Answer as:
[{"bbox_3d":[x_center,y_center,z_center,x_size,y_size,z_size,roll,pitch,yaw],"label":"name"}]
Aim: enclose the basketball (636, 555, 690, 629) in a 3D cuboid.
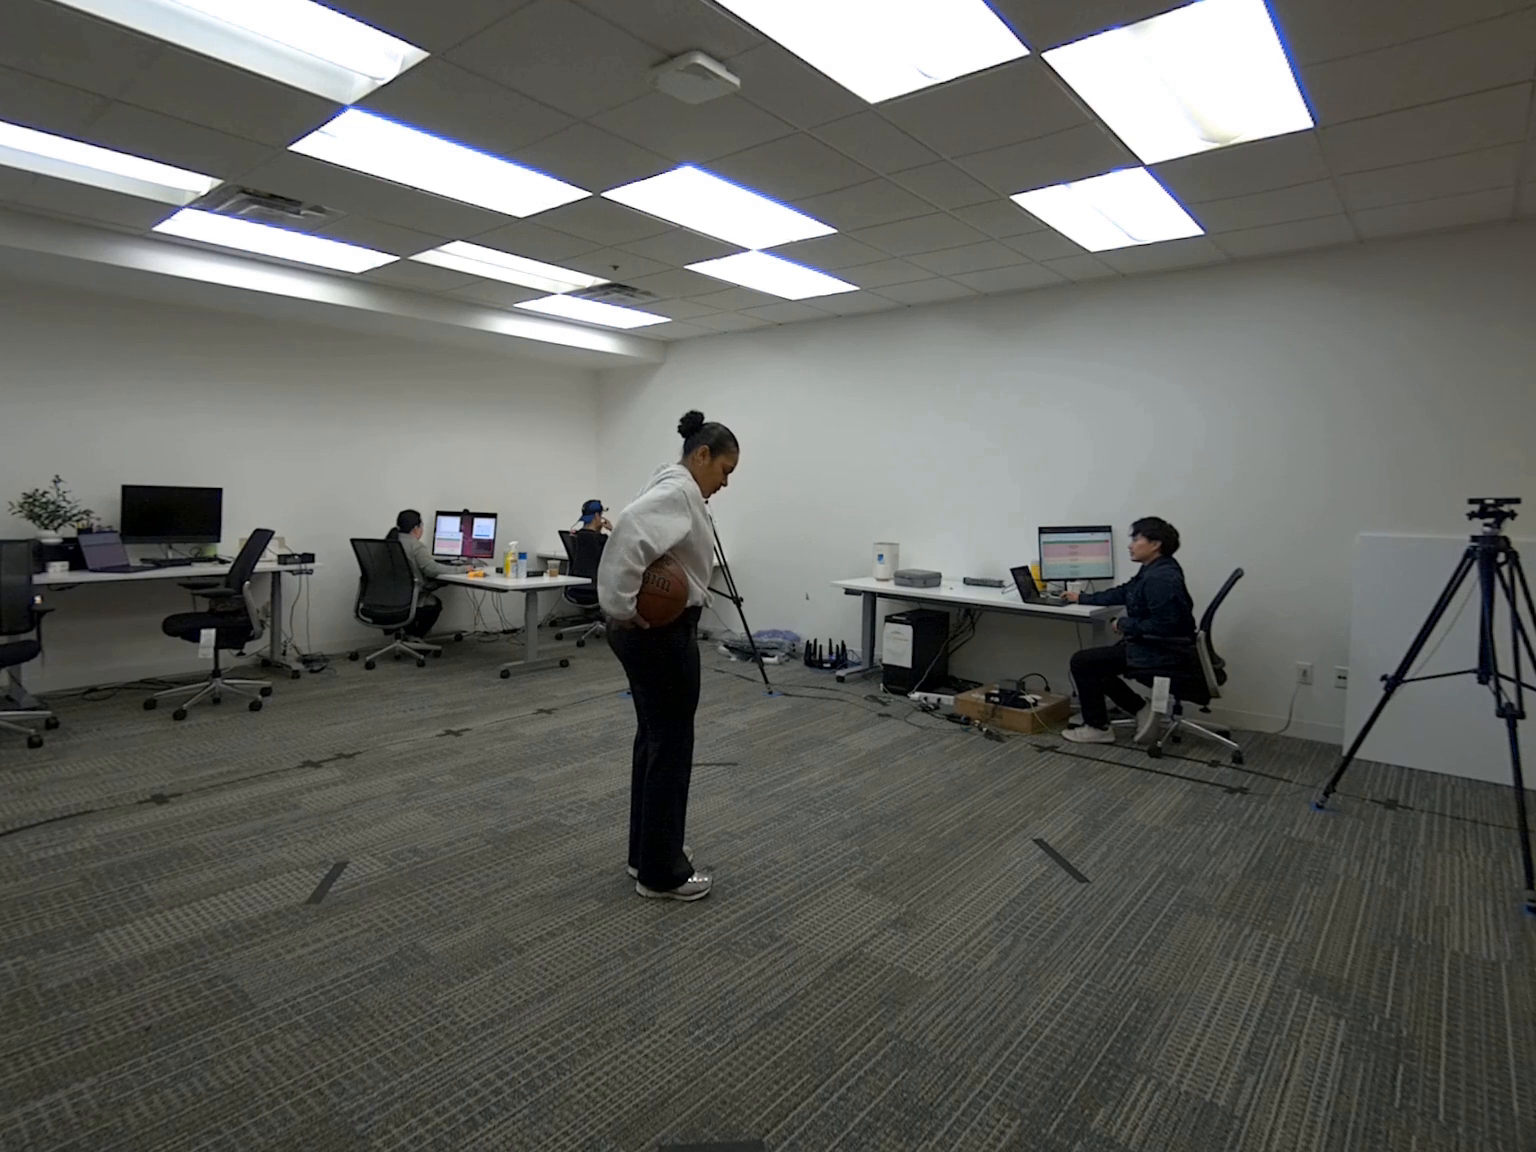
[{"bbox_3d":[-0.374,0.019,2.672,0.235,0.235,0.237,1,4,-2],"label":"basketball"}]
